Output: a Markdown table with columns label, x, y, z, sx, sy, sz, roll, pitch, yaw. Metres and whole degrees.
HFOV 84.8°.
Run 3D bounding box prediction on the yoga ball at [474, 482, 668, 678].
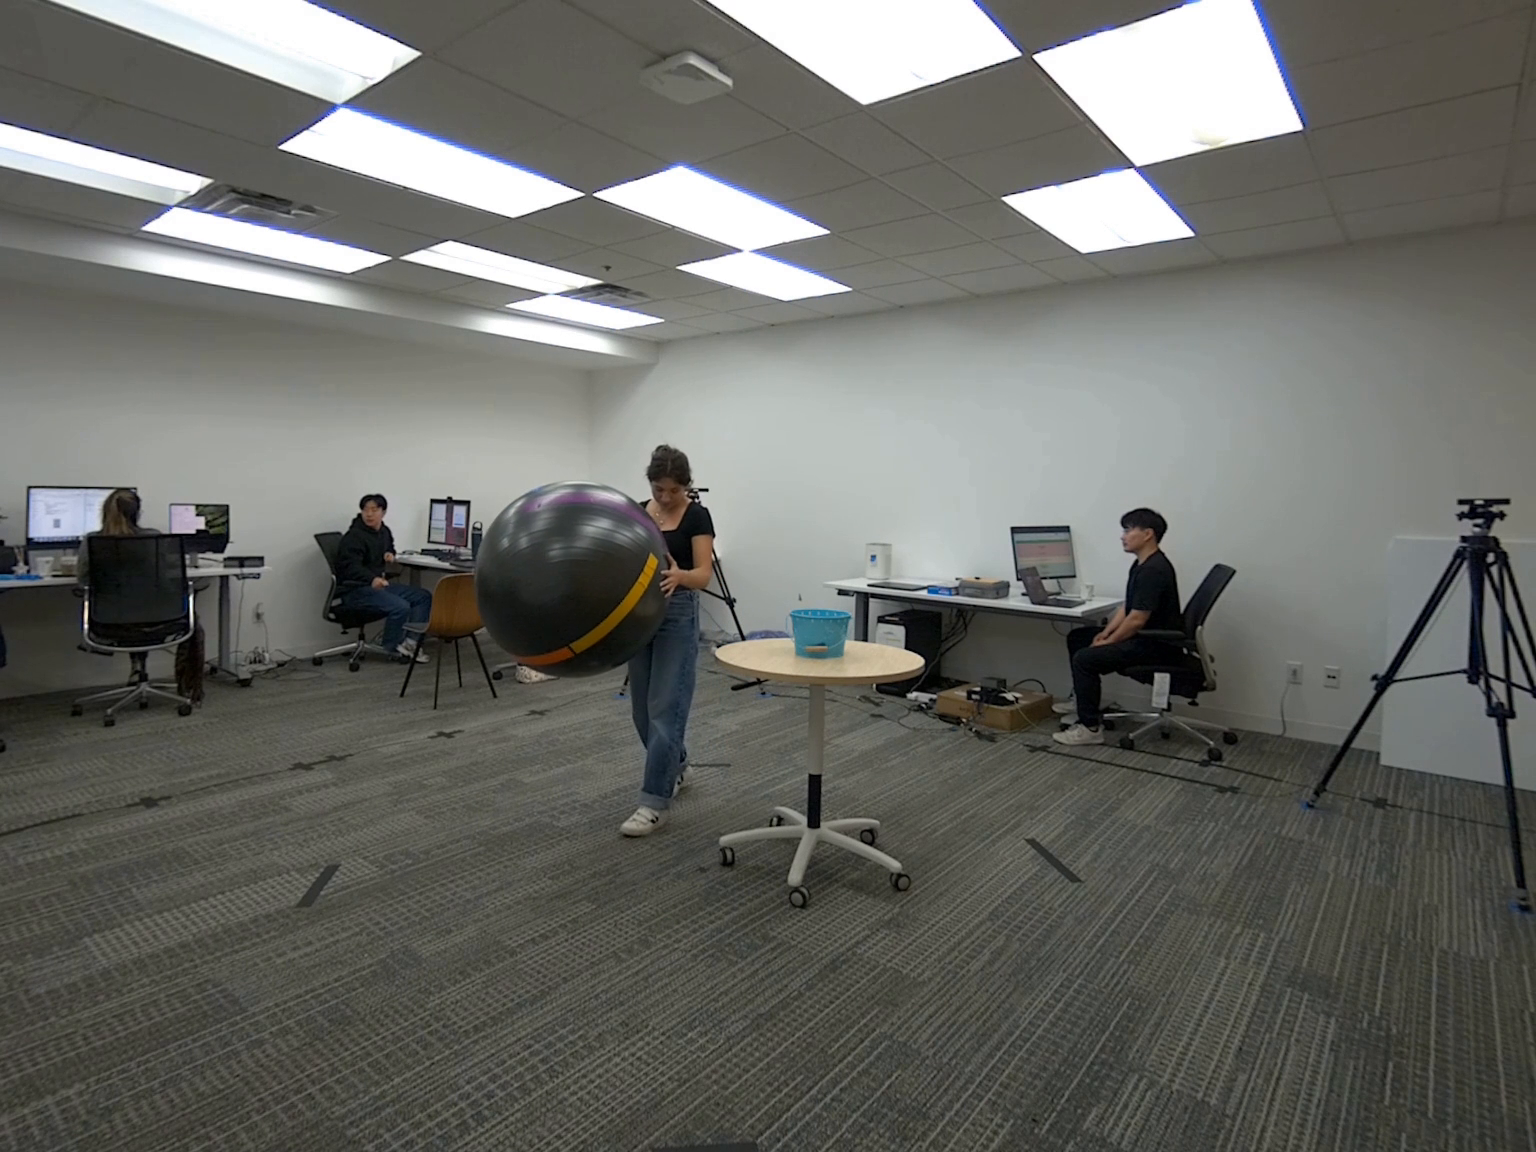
| label | x | y | z | sx | sy | sz | roll | pitch | yaw |
| --- | --- | --- | --- | --- | --- | --- | --- | --- | --- |
| yoga ball | -0.766 | 0.013 | 3.291 | 0.757 | 0.756 | 0.762 | 1 | 4 | -2 |
